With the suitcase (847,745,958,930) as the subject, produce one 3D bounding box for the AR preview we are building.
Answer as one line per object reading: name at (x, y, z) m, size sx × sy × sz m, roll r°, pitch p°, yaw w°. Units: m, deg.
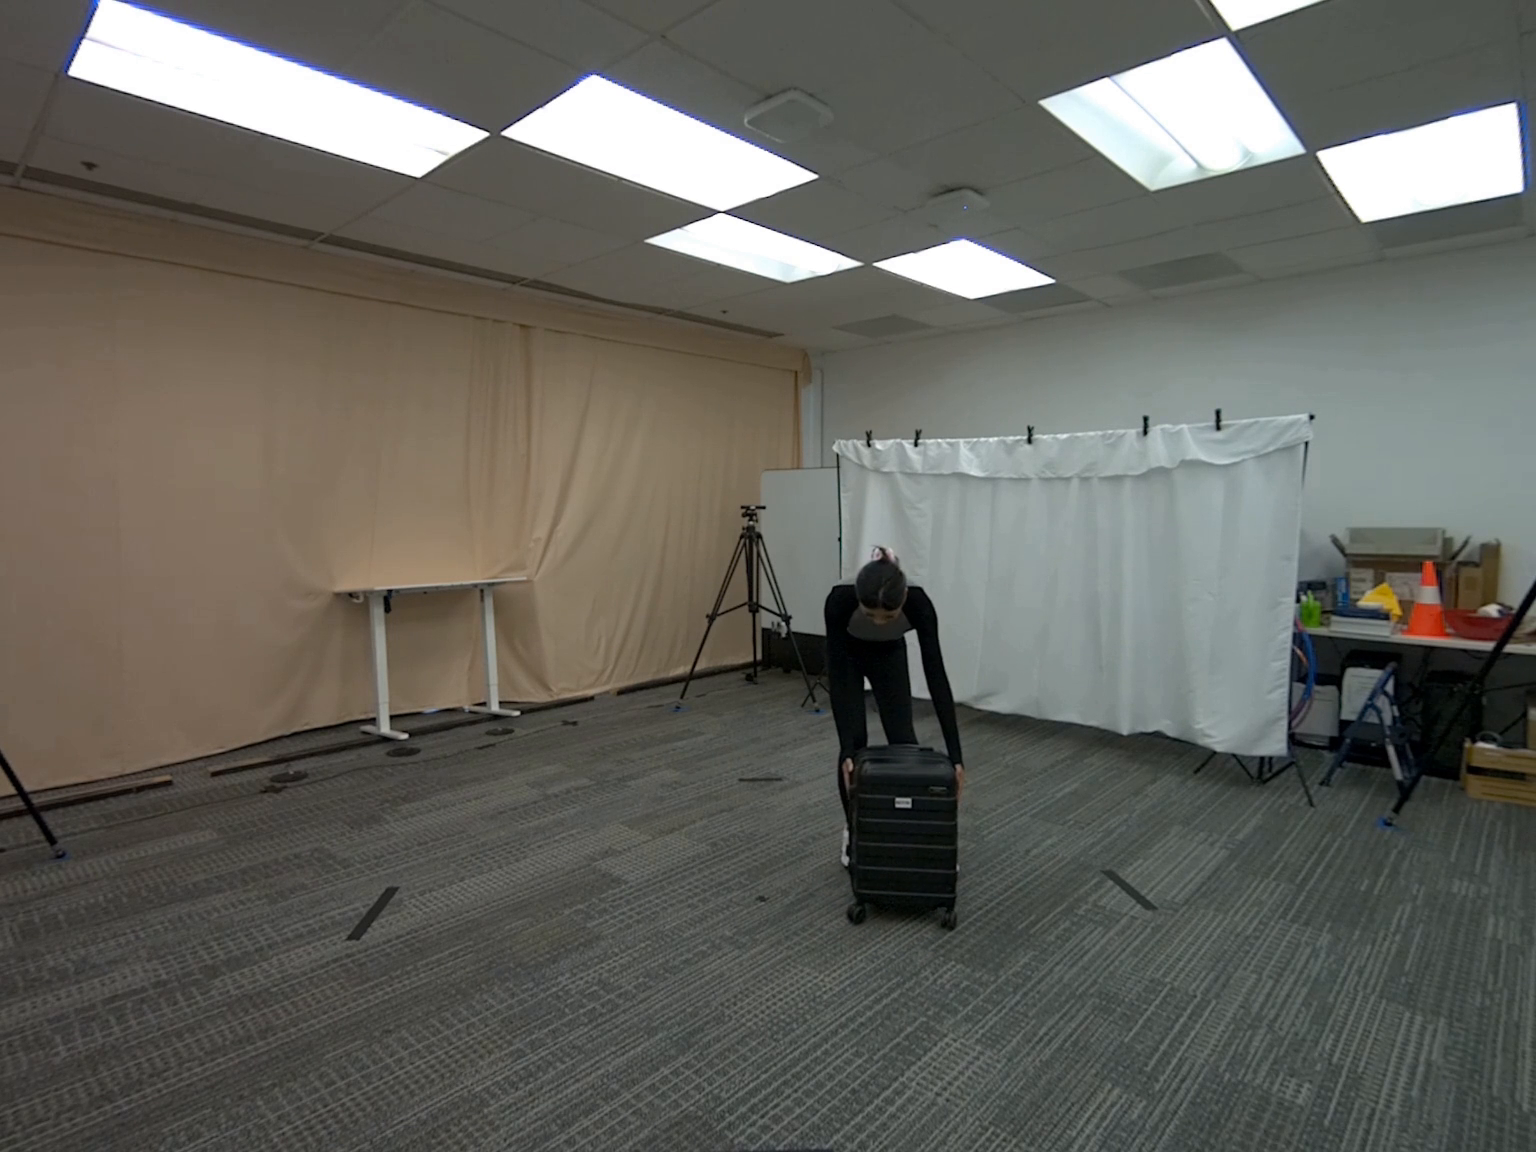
suitcase at (0.470, 0.872, 2.900) m, size 0.378 × 0.548 × 0.247 m, roll 1°, pitch 3°, yaw 6°
